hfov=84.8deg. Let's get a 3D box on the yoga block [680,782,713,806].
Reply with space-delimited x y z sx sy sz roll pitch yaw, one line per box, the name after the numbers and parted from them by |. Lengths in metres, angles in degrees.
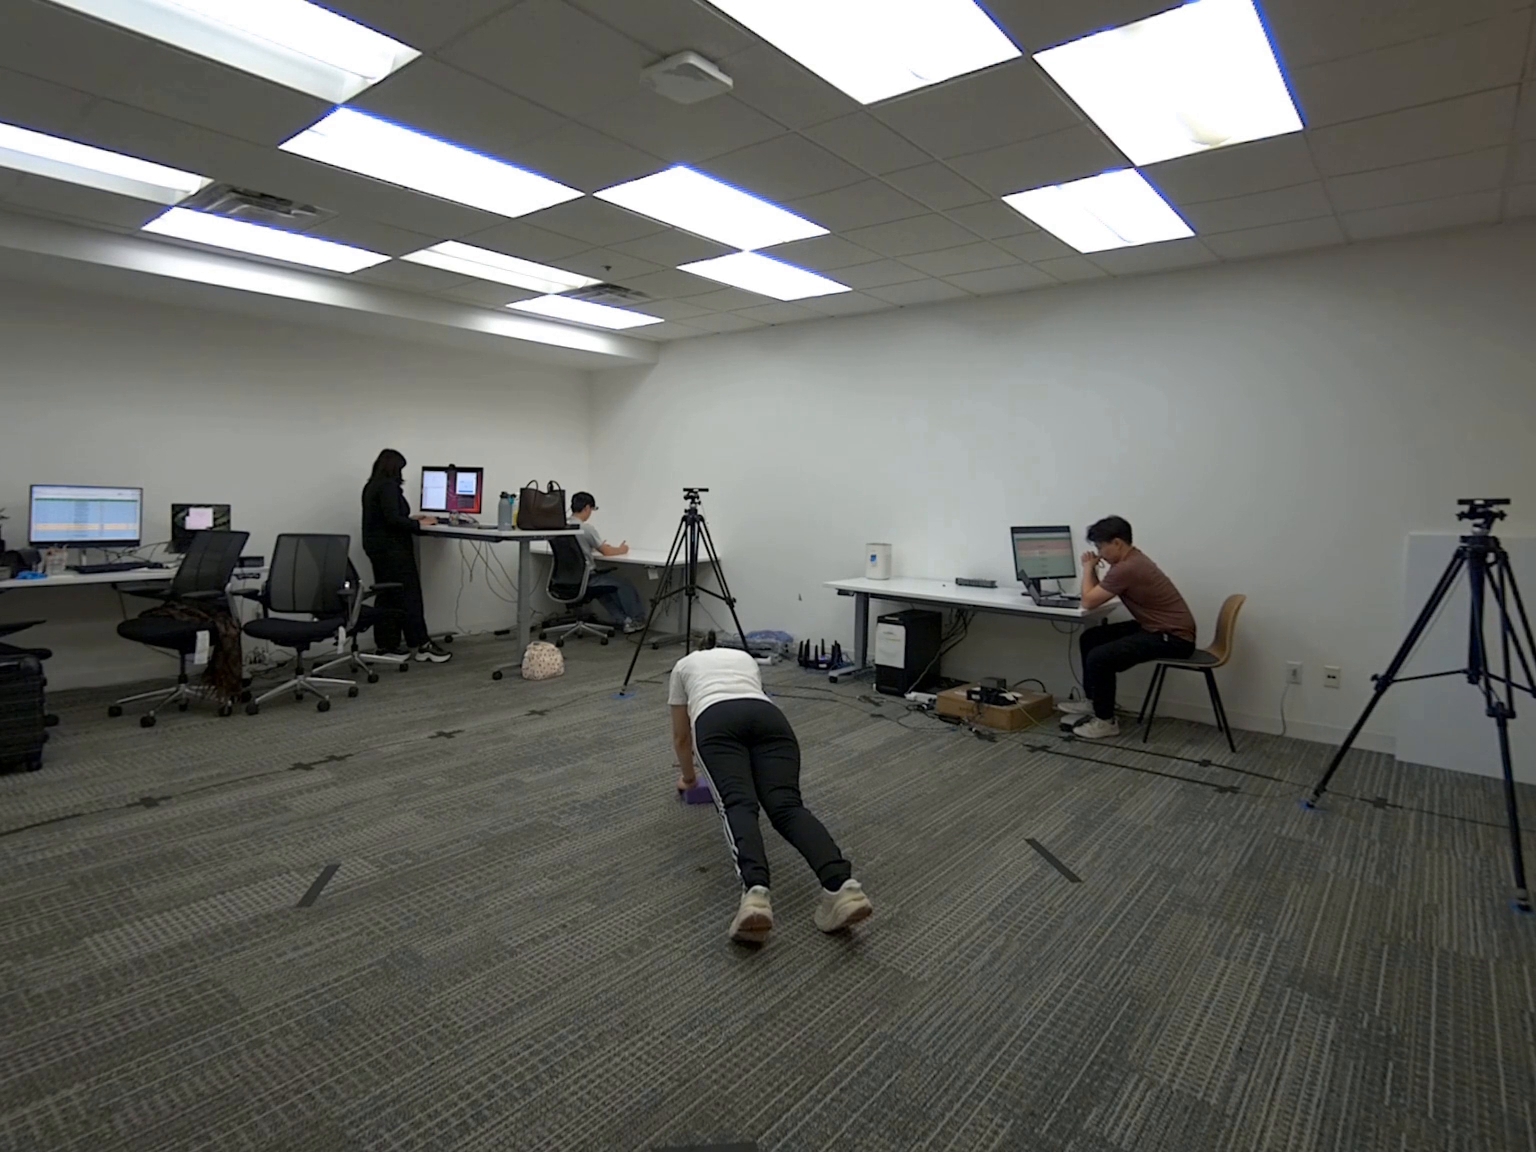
-0.273 0.958 3.838 0.226 0.076 0.152 -2 5 -14 | yoga block
